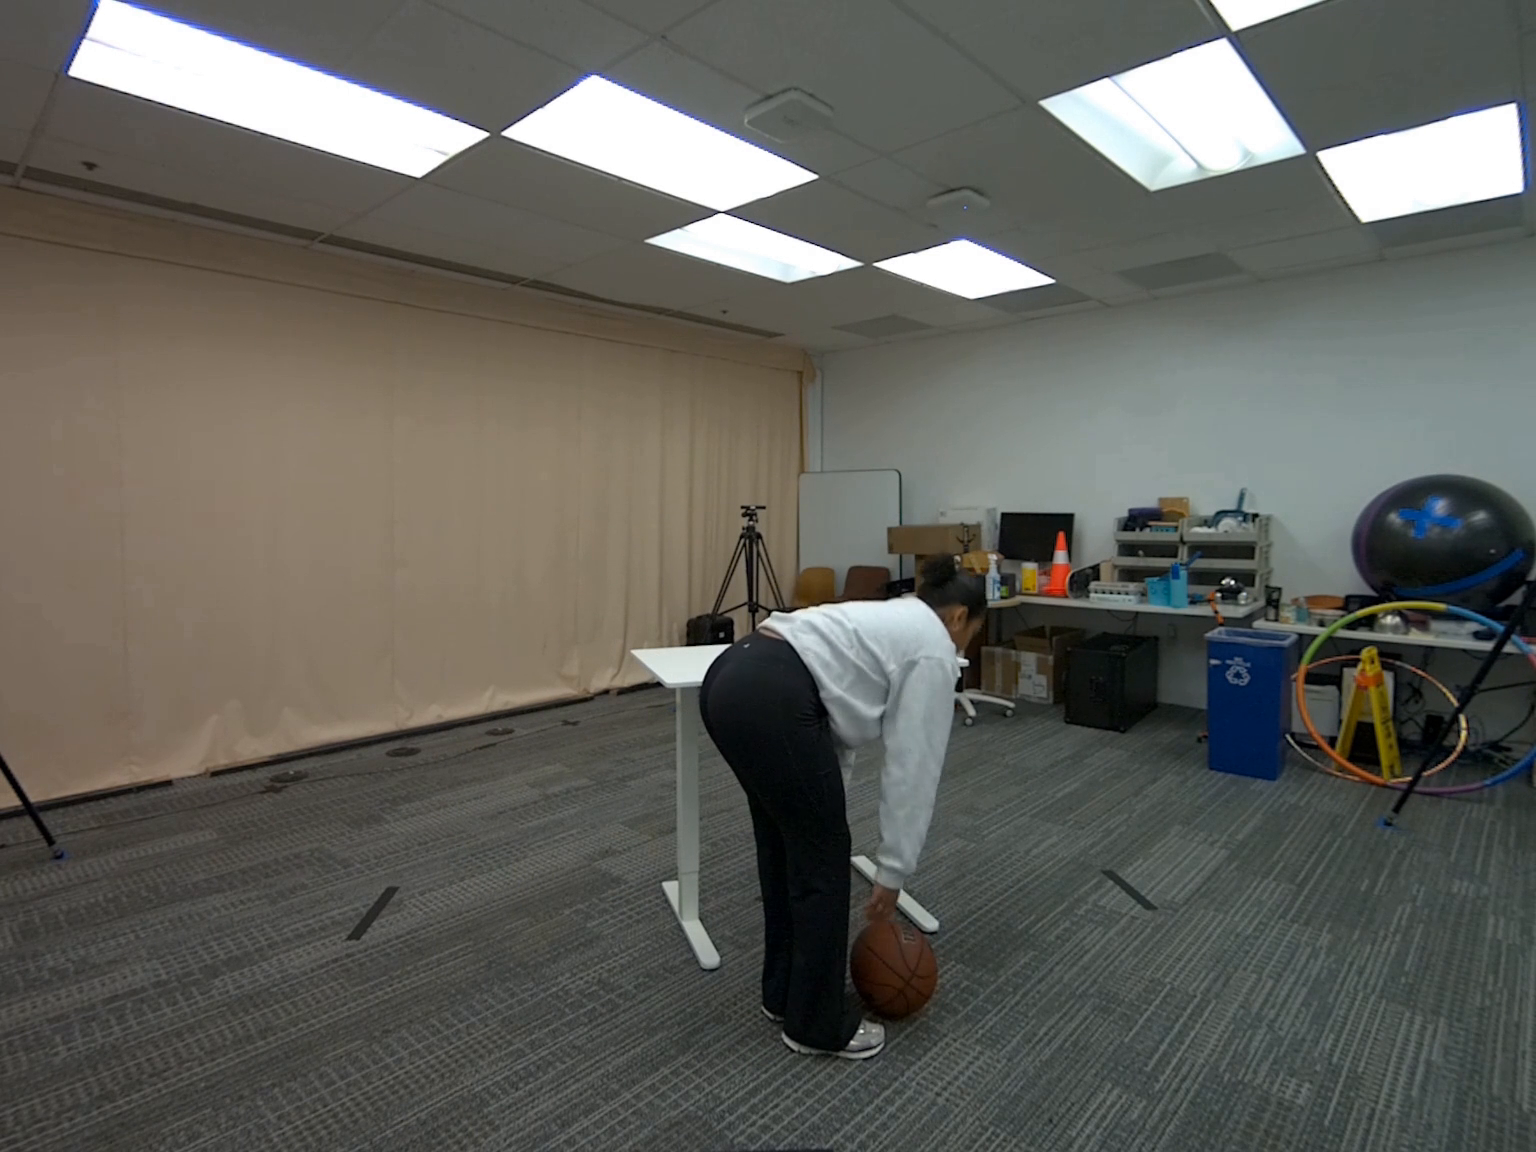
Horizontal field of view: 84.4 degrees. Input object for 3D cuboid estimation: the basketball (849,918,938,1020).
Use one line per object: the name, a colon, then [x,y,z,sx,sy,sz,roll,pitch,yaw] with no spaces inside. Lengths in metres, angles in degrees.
basketball: [0.348,1.081,2.319,0.236,0.235,0.237,0,4,-2]
